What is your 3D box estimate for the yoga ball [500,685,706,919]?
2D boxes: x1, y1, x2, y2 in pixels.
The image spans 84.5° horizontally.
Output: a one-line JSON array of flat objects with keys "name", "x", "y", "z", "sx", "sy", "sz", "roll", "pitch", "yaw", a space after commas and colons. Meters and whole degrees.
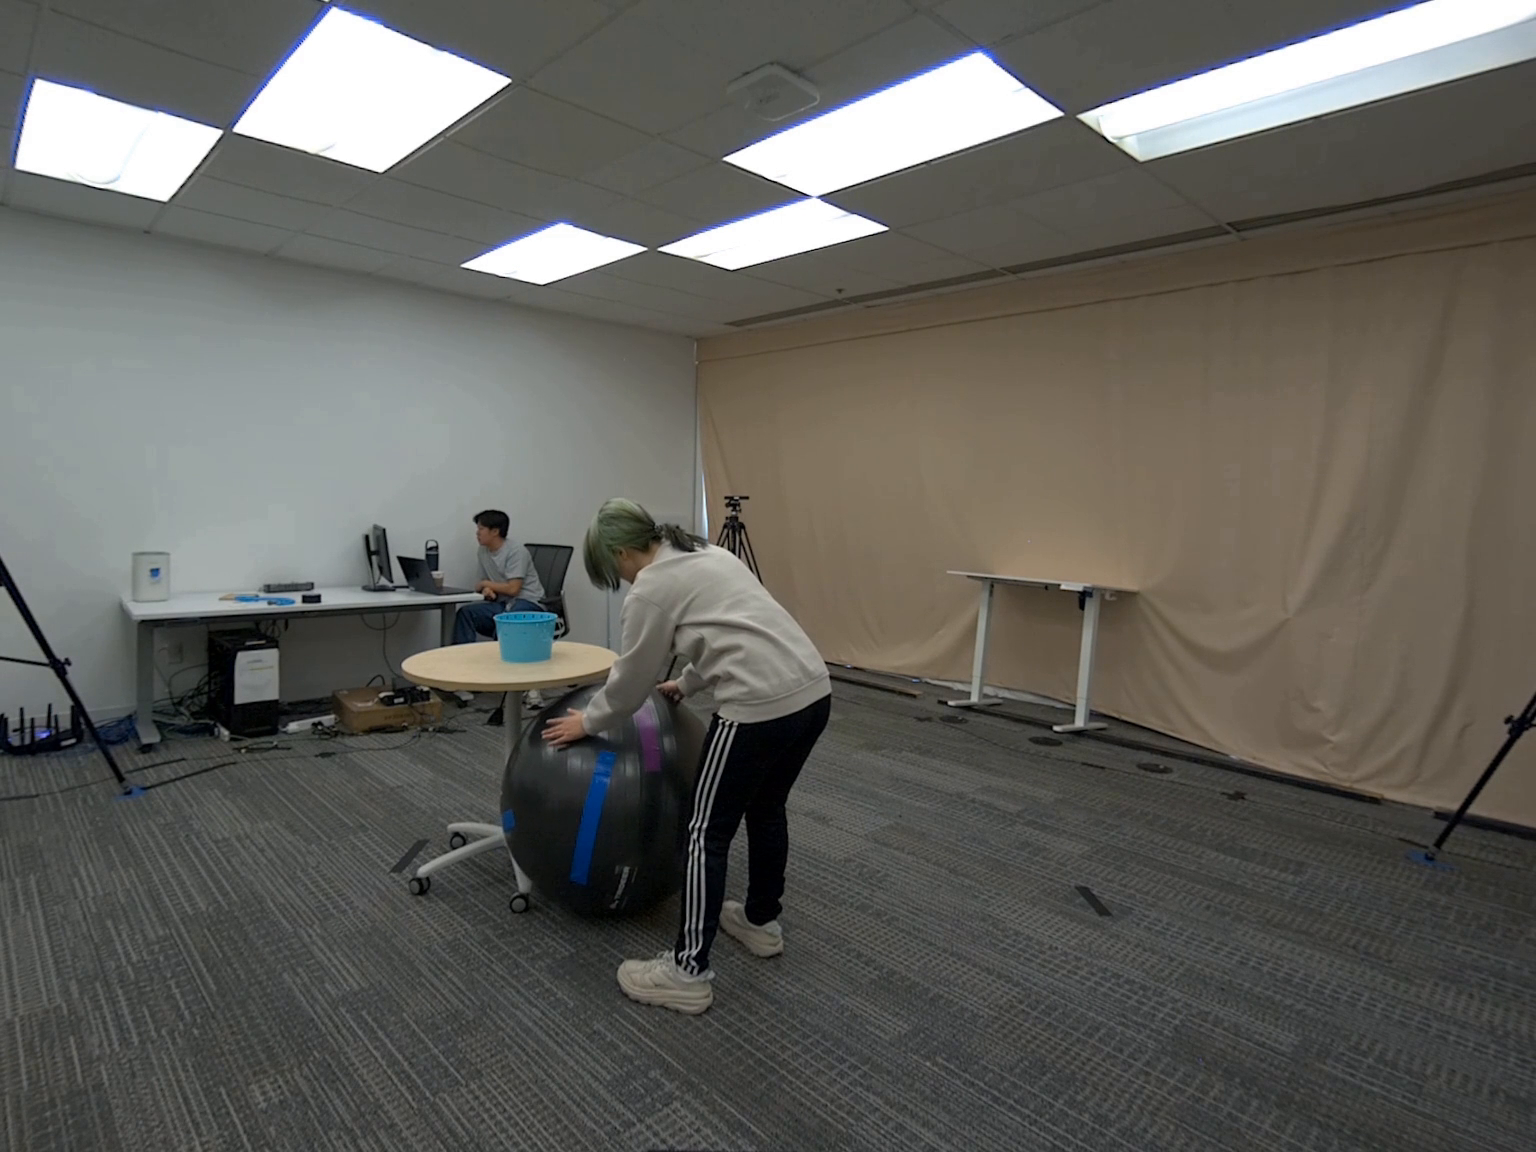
[{"name": "yoga ball", "x": -0.521, "y": 0.748, "z": 2.862, "sx": 0.757, "sy": 0.756, "sz": 0.761, "roll": 1, "pitch": 4, "yaw": -1}]
